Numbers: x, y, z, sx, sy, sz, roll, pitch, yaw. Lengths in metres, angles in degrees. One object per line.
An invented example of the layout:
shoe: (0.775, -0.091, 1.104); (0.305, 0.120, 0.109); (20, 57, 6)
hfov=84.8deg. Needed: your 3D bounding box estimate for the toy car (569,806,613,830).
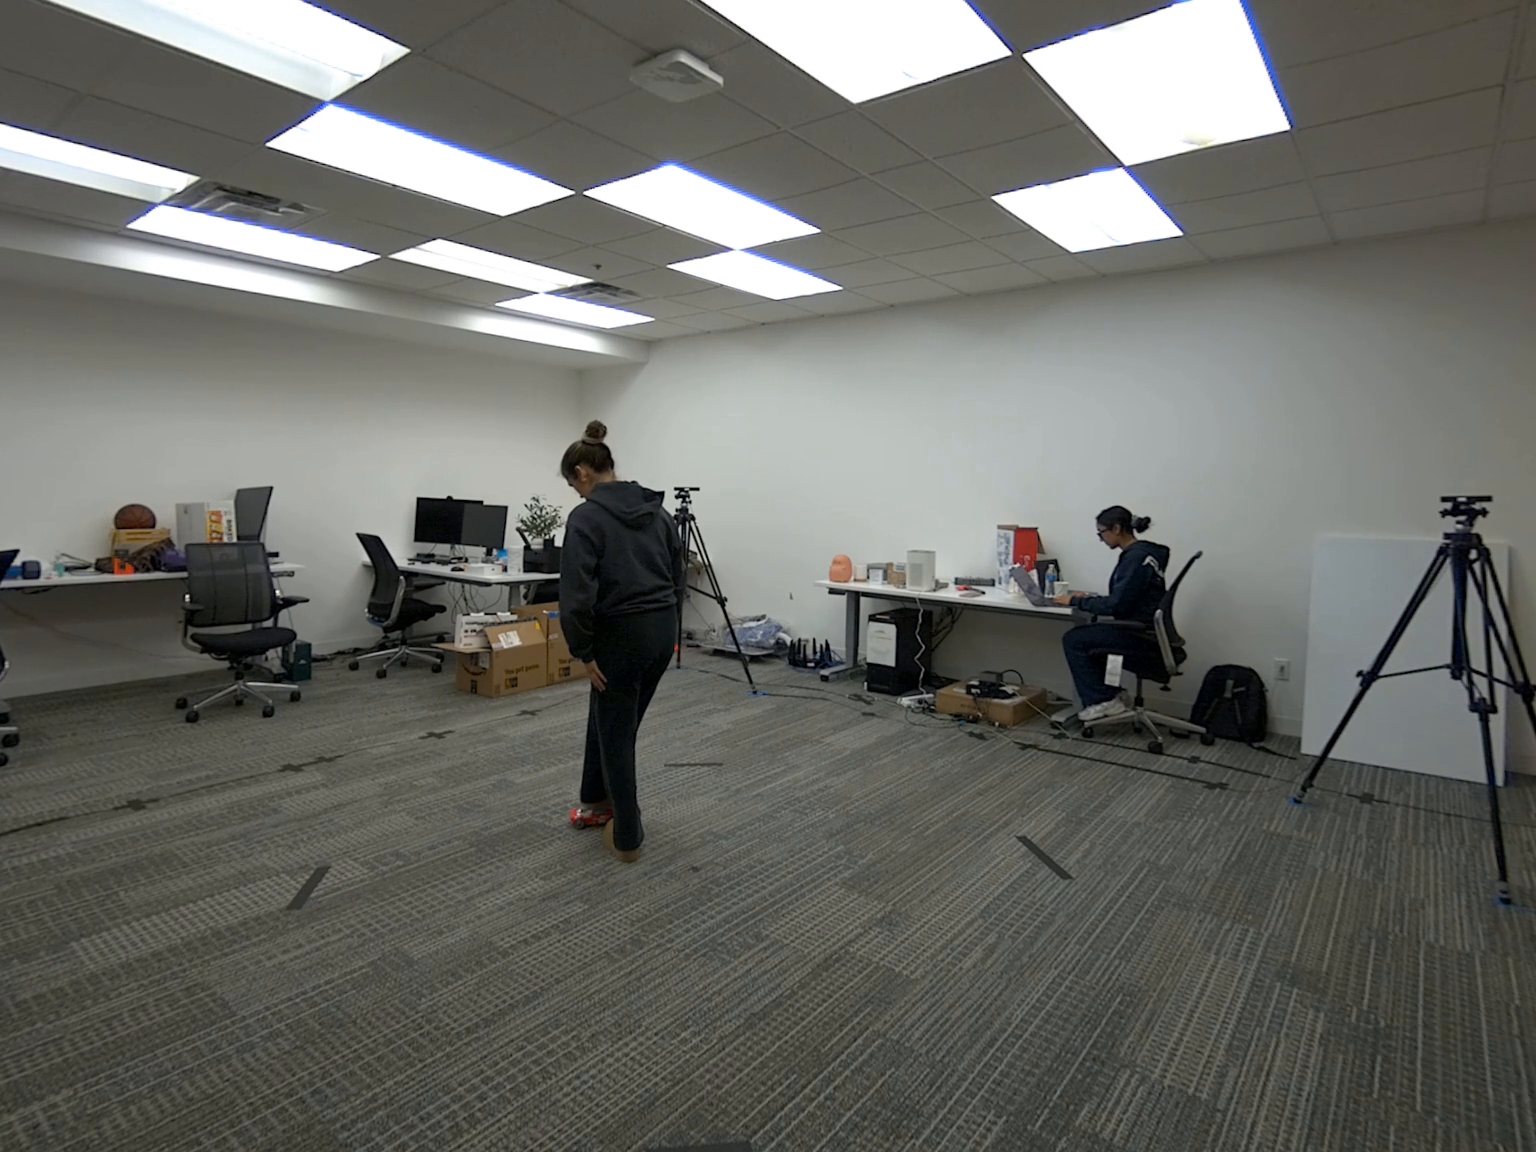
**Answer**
toy car: (-0.694, 0.990, 3.528); (0.252, 0.082, 0.133); (-11, 9, -12)
